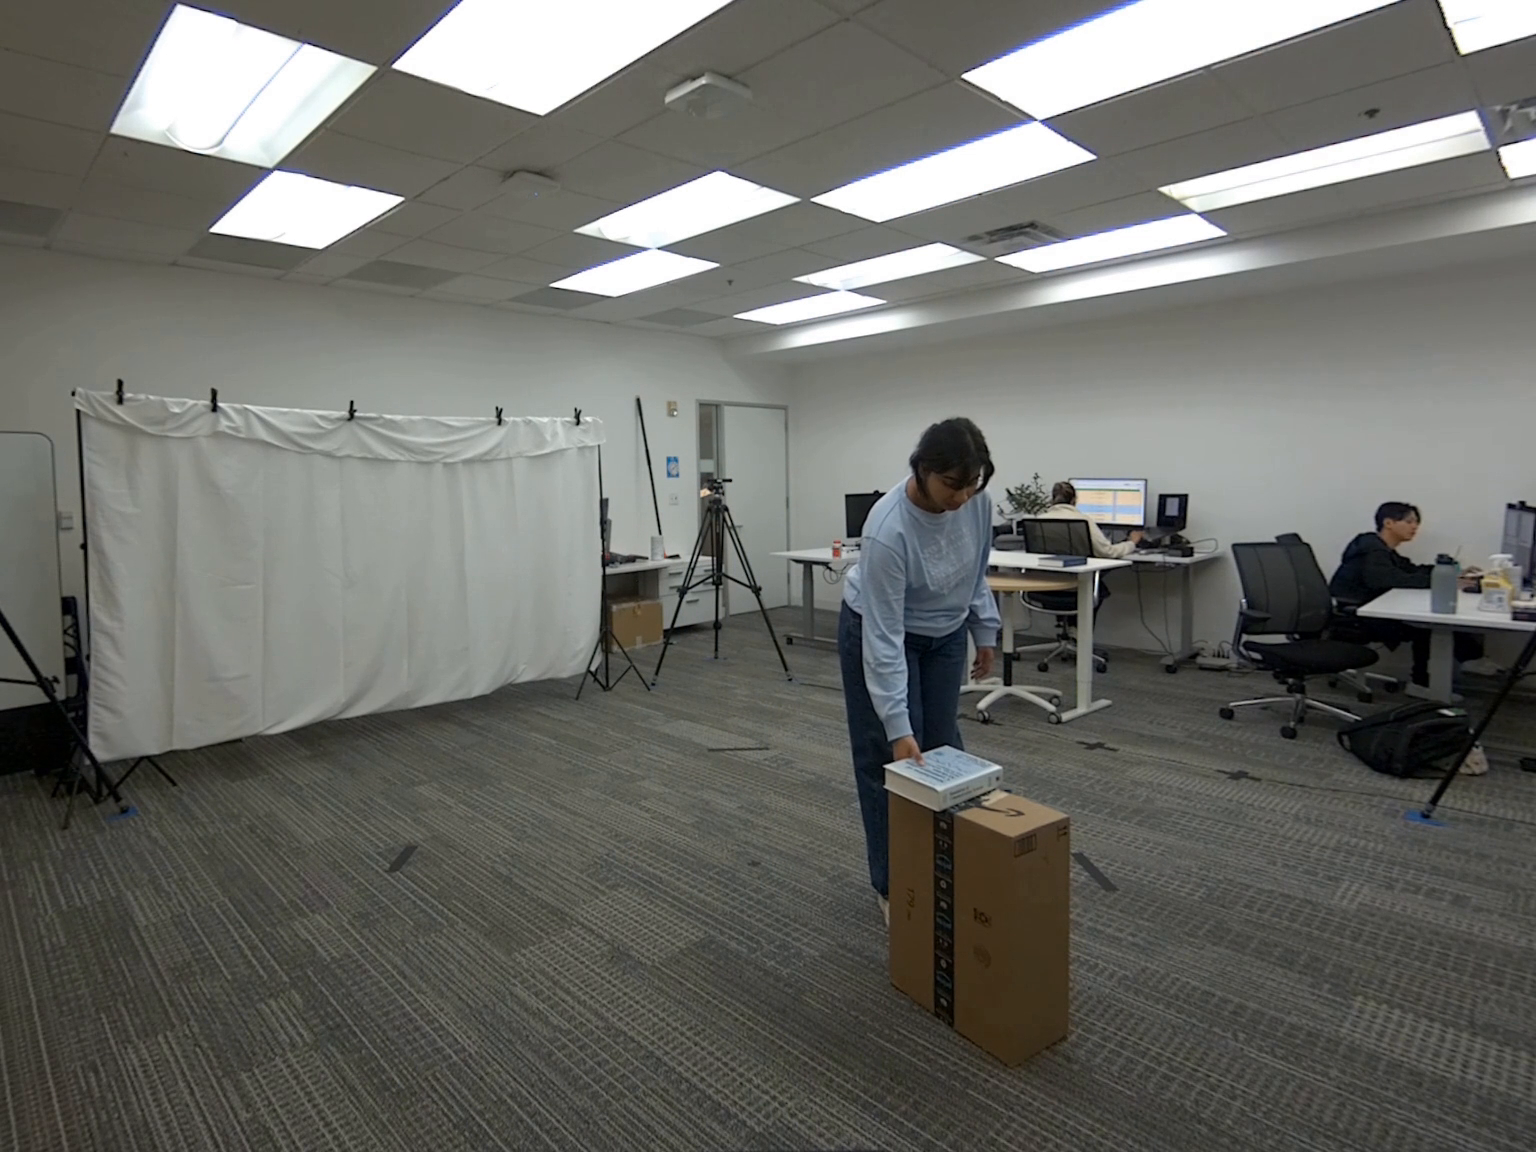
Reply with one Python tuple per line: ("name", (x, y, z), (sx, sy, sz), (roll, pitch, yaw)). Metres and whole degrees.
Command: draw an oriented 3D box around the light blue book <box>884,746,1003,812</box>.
("light blue book", (0.459, 0.534, 2.274), (0.254, 0.058, 0.197), (-7, 12, -38))
